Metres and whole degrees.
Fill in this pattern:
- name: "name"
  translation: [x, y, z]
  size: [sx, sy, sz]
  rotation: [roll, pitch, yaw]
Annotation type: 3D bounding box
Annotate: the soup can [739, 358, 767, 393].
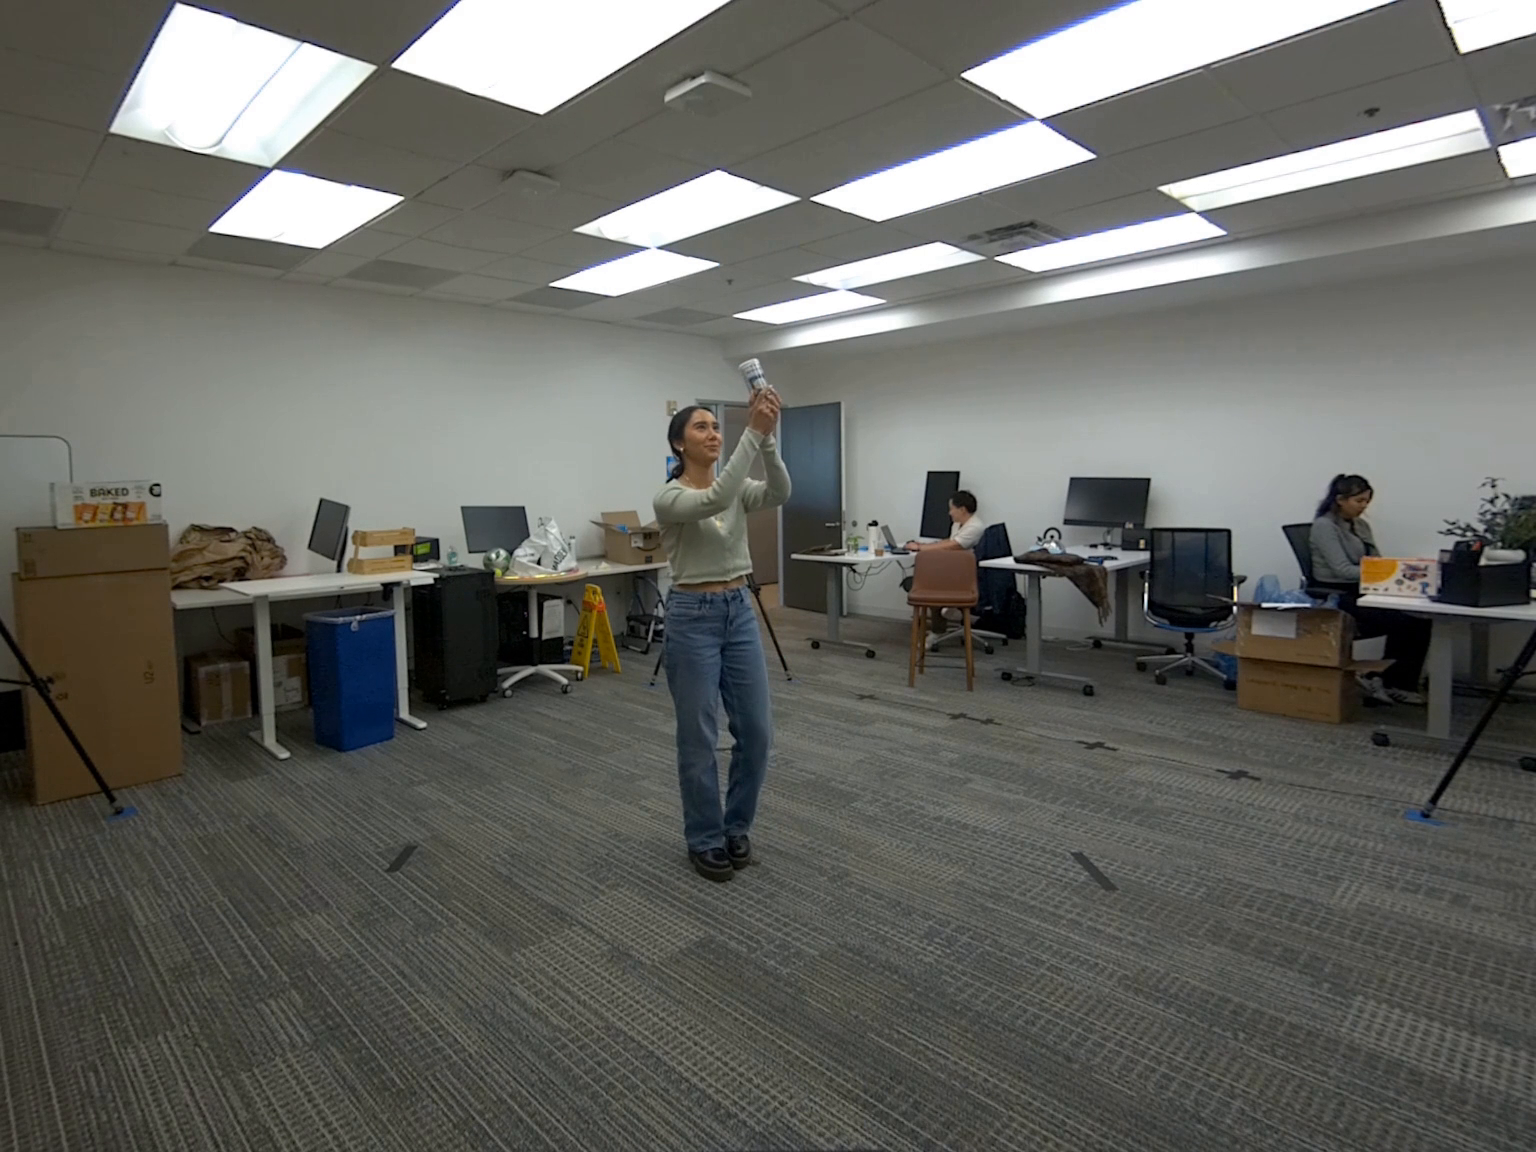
- name: "soup can"
  translation: [-0.044, -0.620, 2.705]
  size: [0.067, 0.122, 0.067]
  rotation: [-19, -3, -2]
